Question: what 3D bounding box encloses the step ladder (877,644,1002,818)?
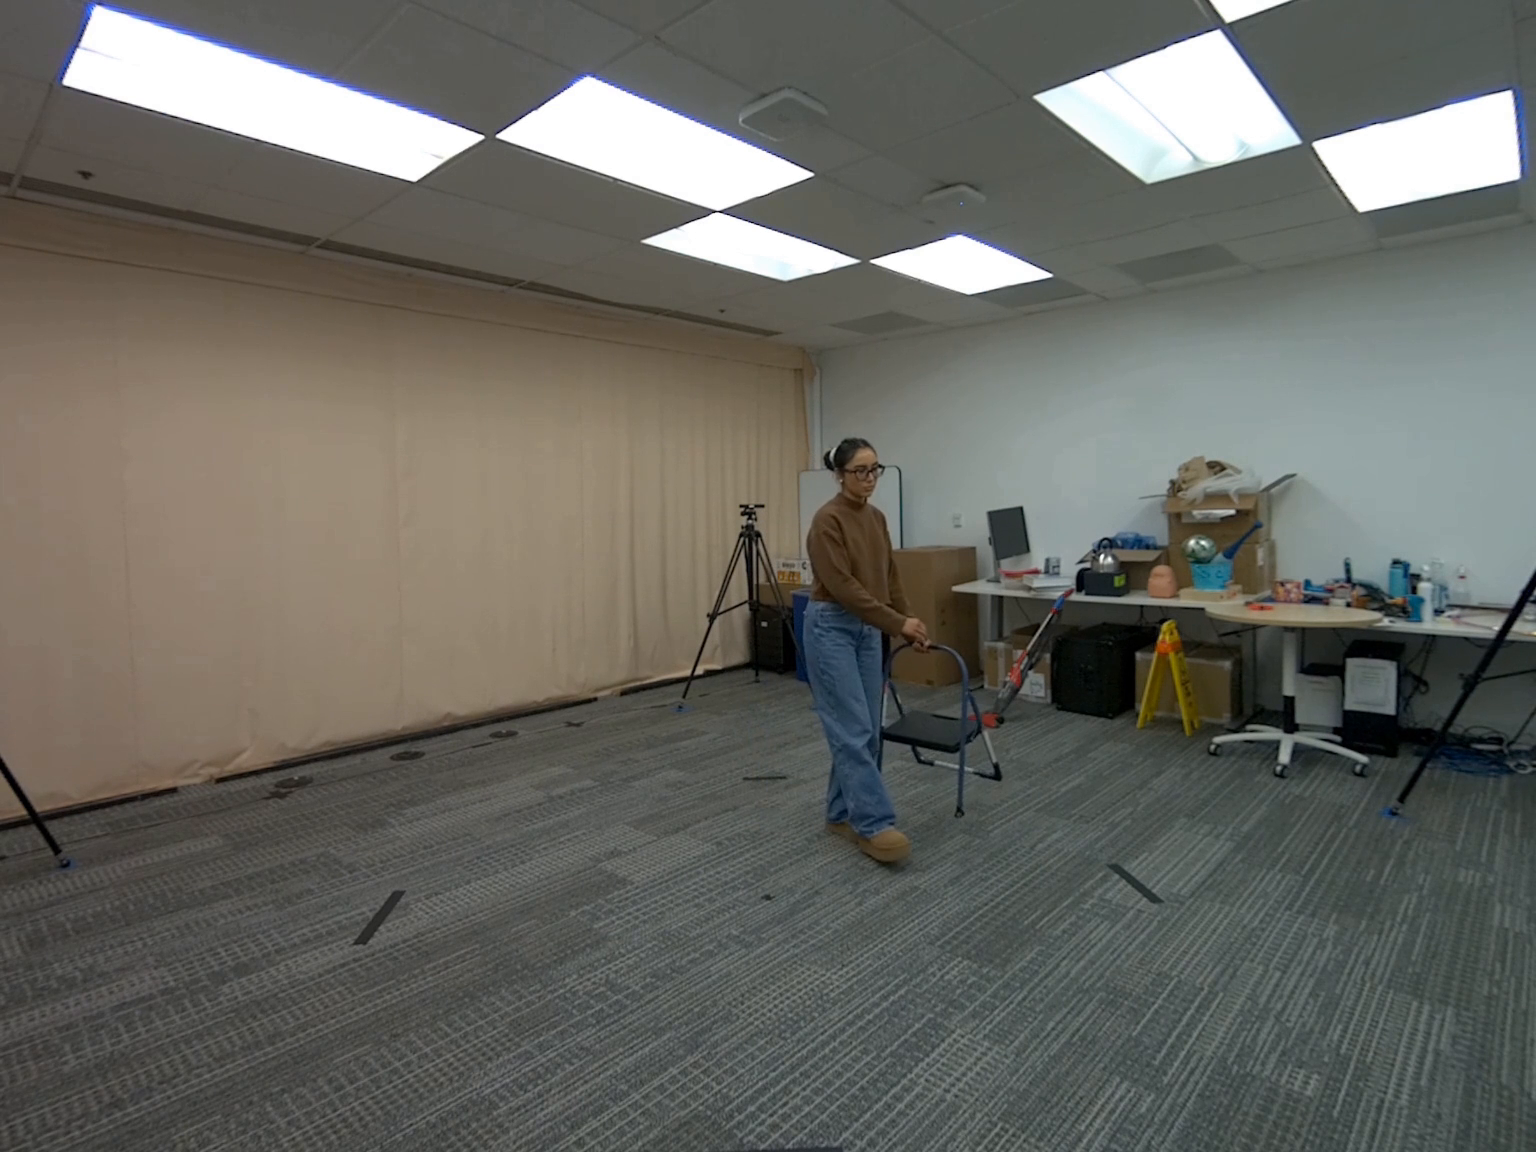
[{"bbox_3d":[0.663,0.597,3.472,0.445,0.600,0.341,2,16,45],"label":"step ladder"}]
